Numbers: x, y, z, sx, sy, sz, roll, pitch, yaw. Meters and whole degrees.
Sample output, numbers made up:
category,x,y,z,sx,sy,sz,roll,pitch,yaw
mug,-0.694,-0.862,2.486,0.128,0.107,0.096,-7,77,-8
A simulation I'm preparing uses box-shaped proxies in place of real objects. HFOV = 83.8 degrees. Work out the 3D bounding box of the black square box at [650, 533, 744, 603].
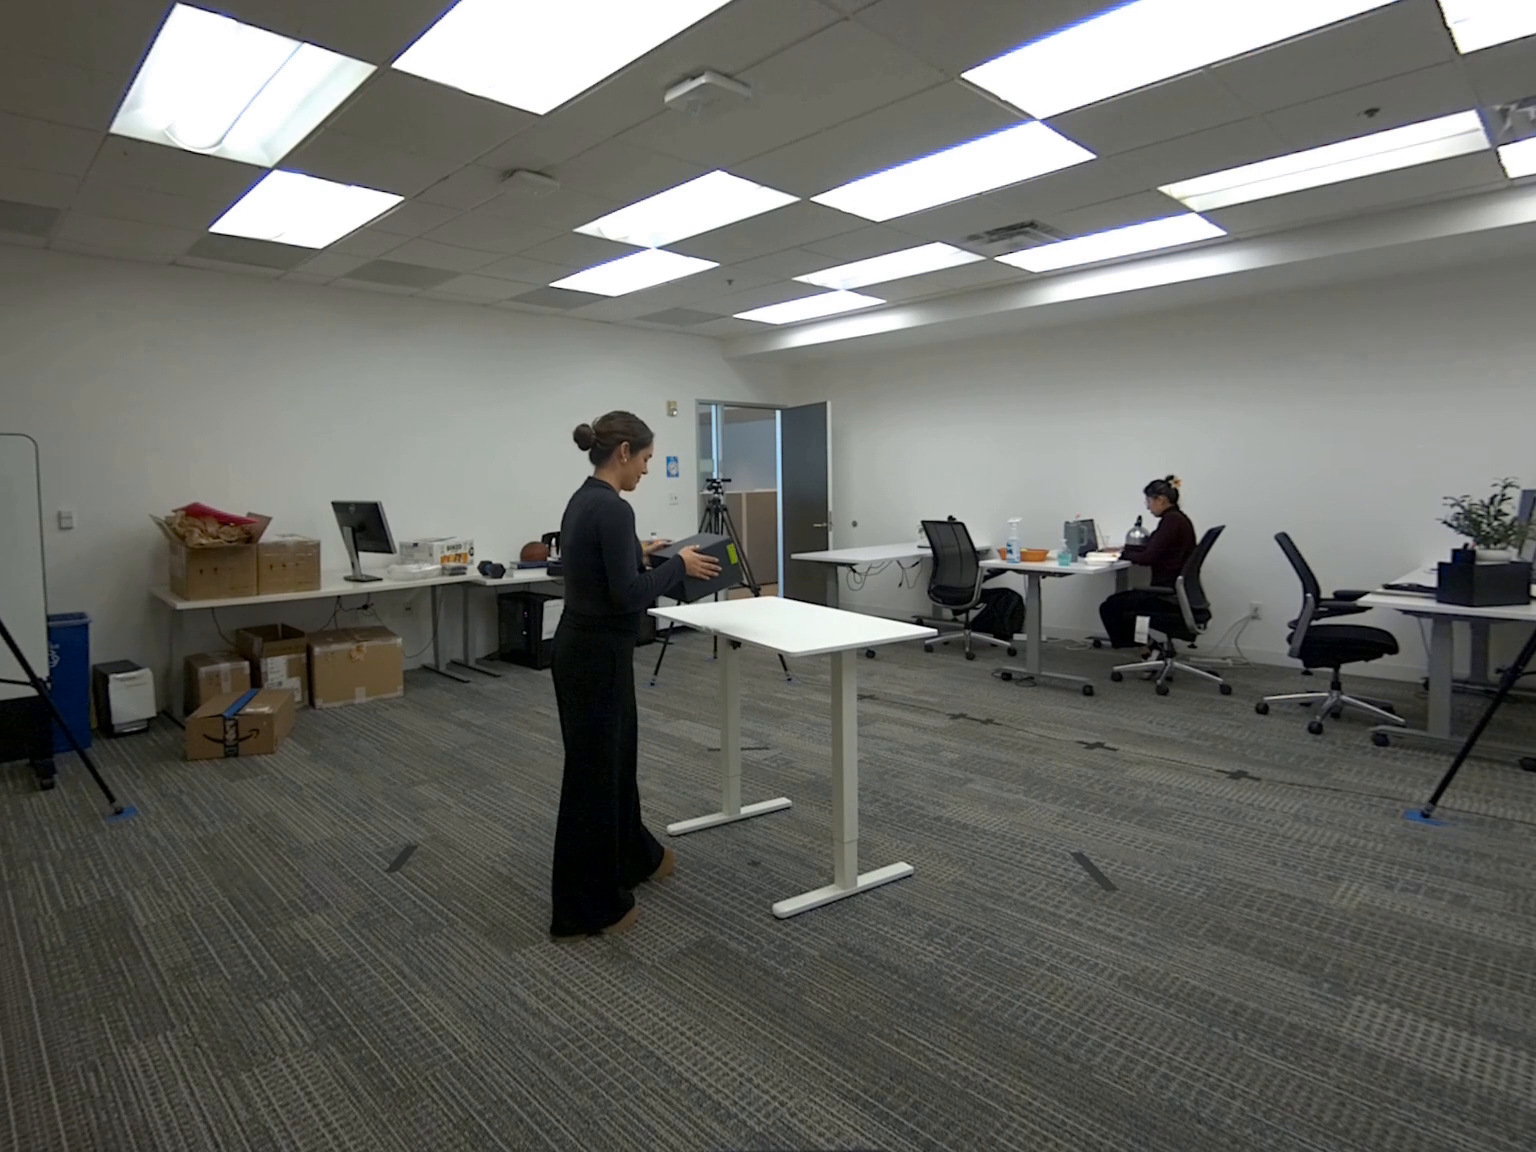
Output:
category,x,y,z,sx,sy,sz,roll,pitch,yaw
black square box,-0.239,-0.033,2.855,0.214,0.154,0.234,-22,16,-26
